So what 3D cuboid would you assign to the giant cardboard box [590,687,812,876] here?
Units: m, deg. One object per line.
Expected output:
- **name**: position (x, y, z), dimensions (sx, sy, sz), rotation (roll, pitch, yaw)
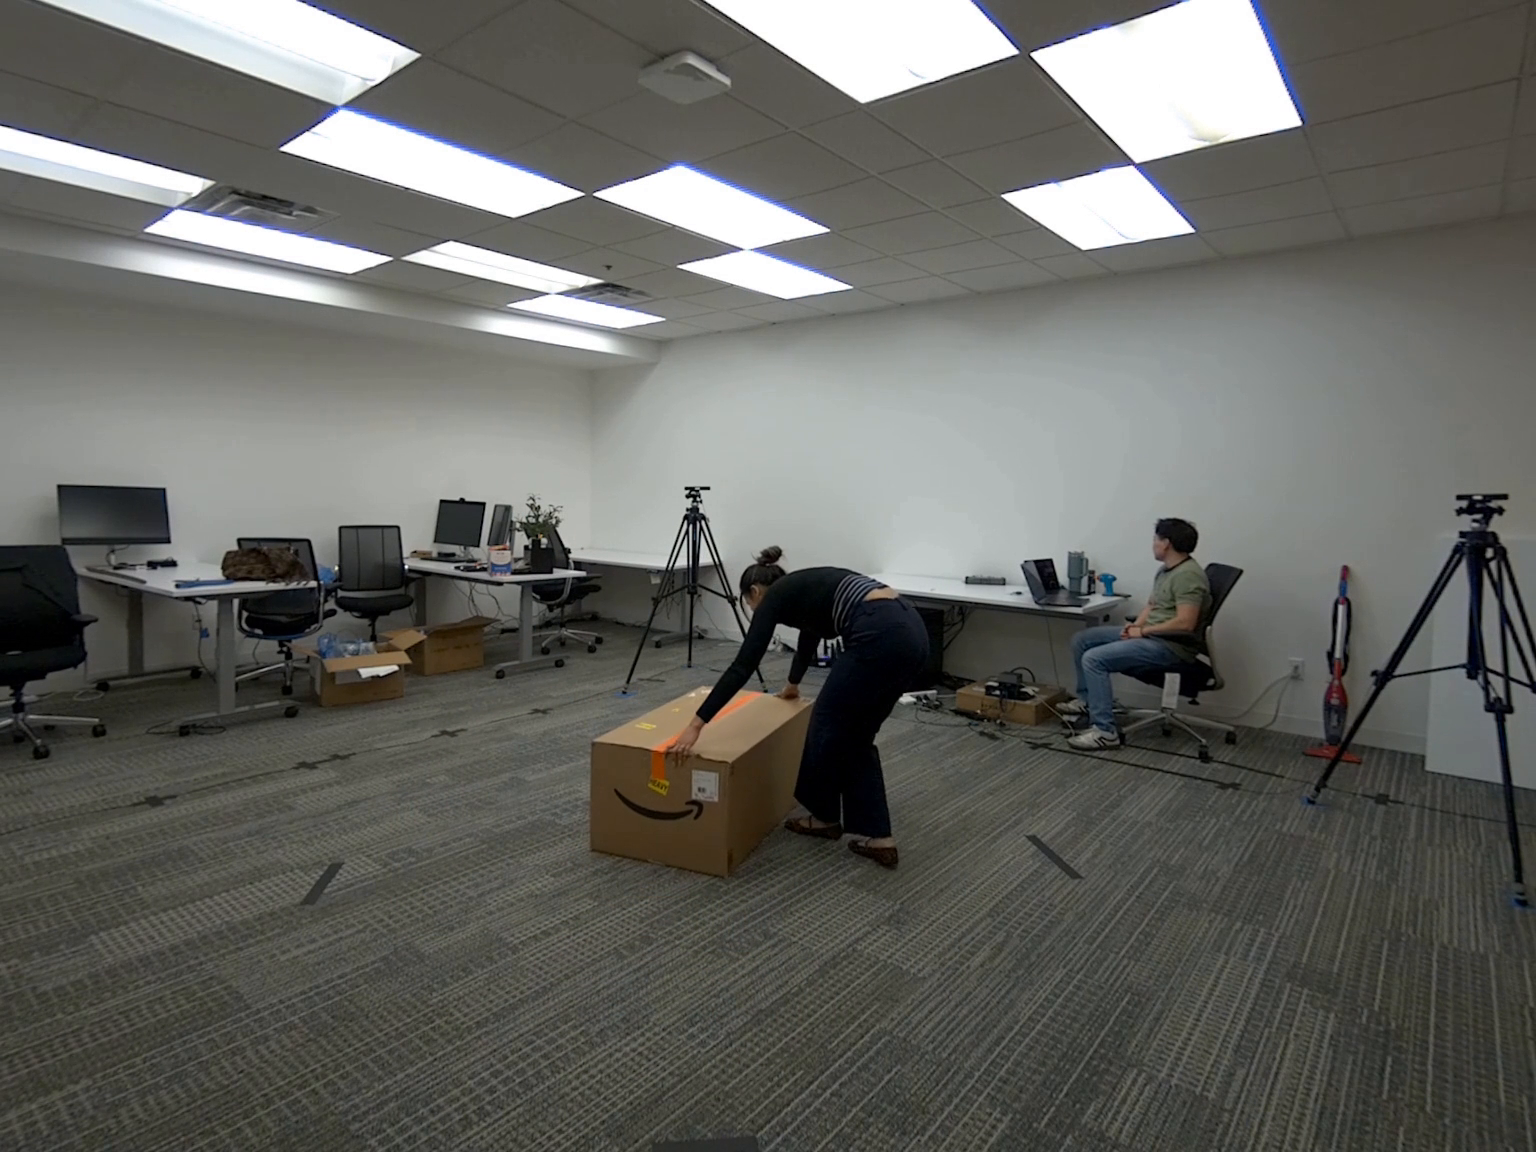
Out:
- **giant cardboard box**: position (-0.241, 0.801, 3.585), dimensions (0.591, 0.424, 1.006), rotation (3, 6, 21)
